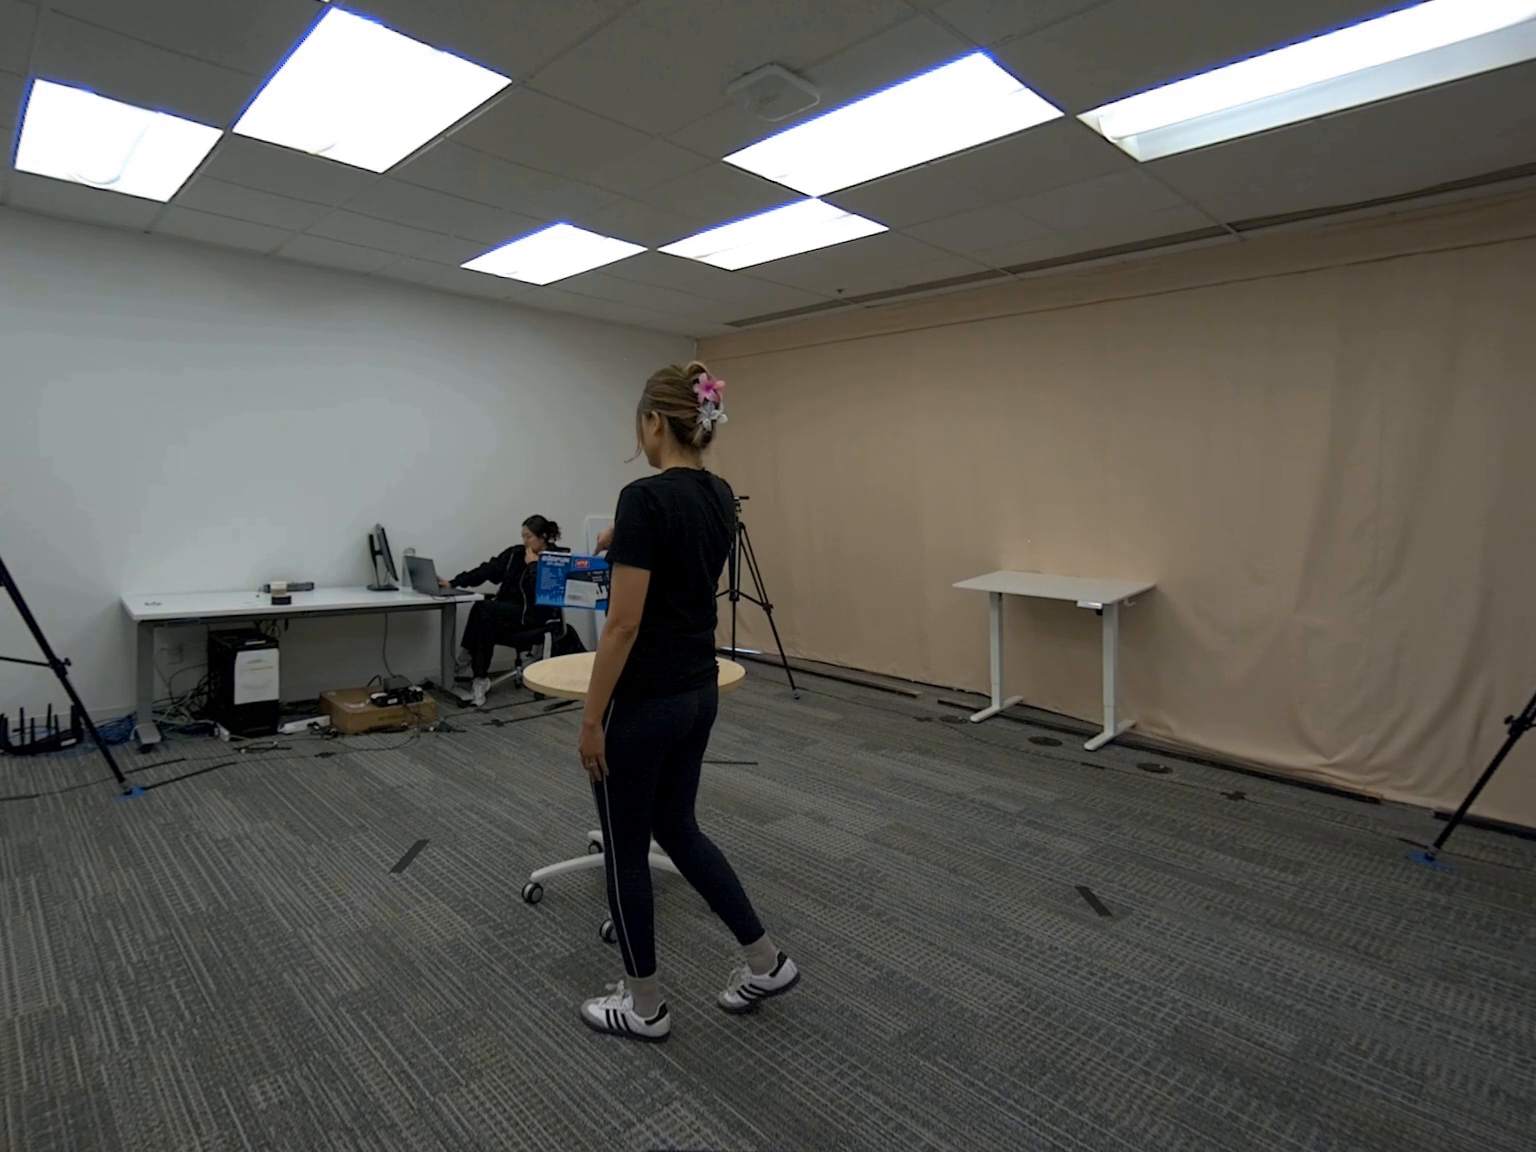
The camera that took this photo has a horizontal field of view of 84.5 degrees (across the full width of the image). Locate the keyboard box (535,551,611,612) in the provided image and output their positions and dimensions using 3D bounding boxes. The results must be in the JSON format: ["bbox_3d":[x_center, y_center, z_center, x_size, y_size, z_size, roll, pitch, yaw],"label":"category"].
[{"bbox_3d":[-0.540,0.031,2.758,0.435,0.175,0.059,4,5,-4],"label":"keyboard box"}]
